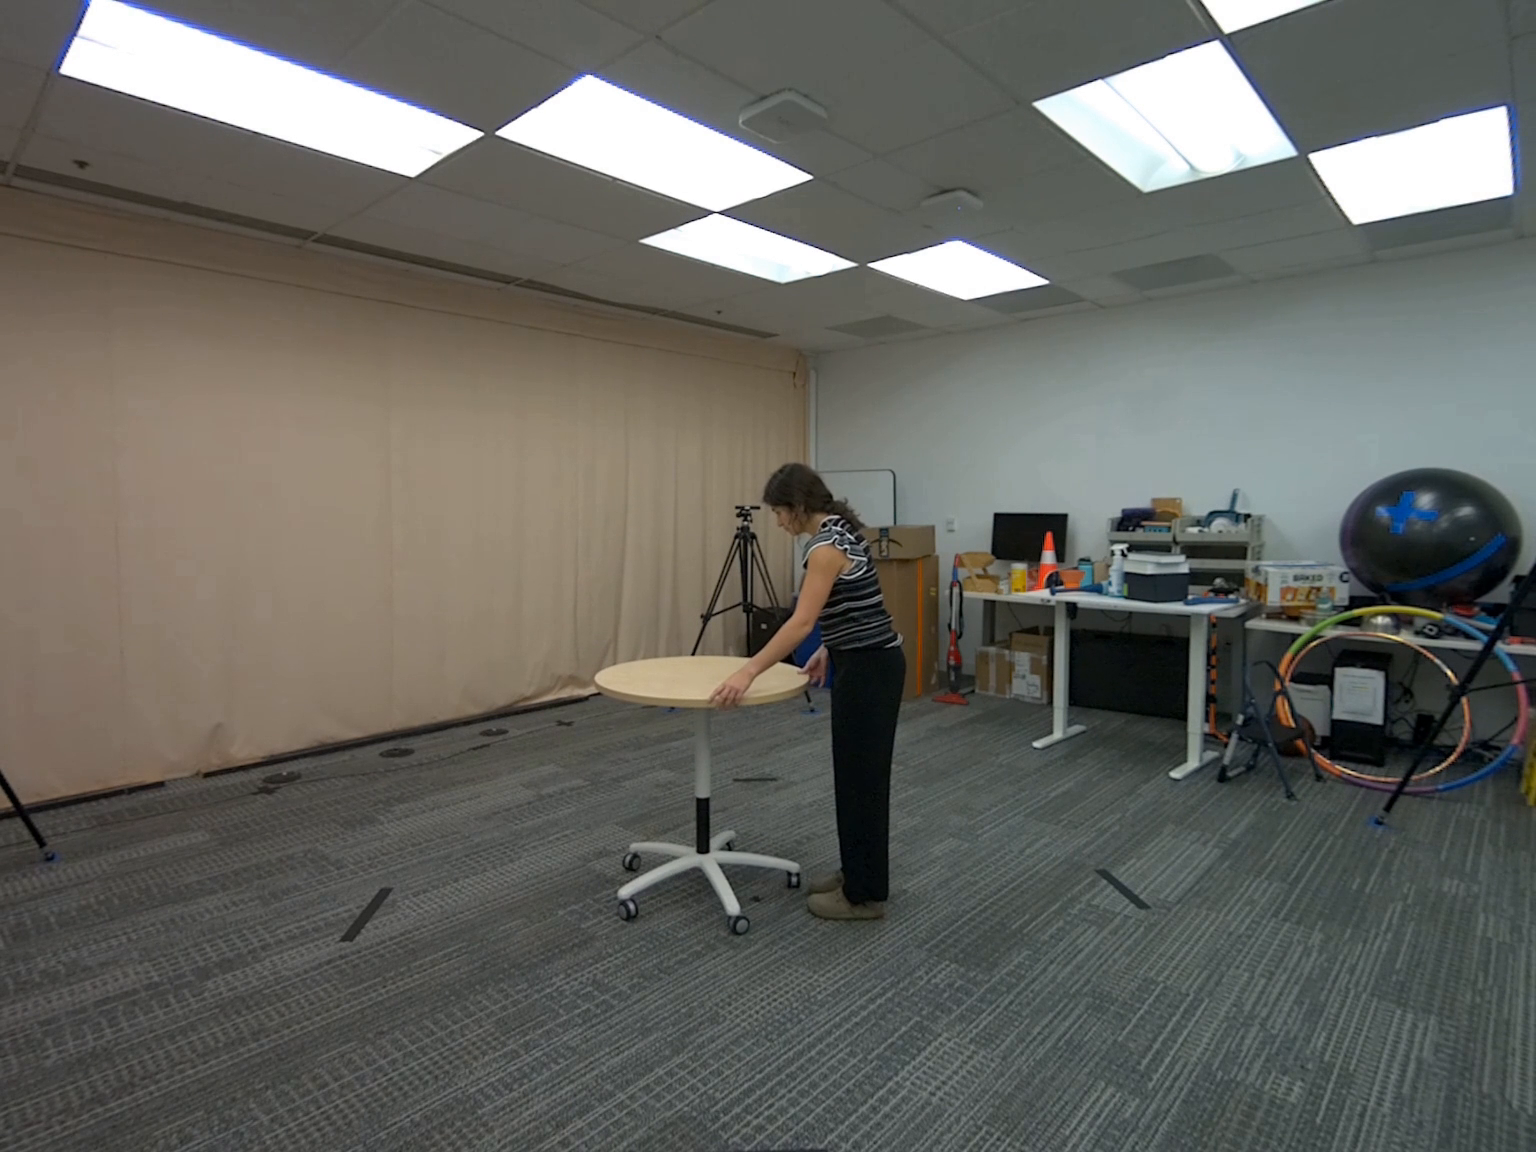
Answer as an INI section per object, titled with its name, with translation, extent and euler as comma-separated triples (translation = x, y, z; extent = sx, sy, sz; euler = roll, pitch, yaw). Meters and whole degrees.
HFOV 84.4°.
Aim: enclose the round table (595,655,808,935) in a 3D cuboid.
[round table]
translation = -0.234, 0.750, 3.026
extent = 0.784, 0.785, 0.787
euler = 0, 3, -2
